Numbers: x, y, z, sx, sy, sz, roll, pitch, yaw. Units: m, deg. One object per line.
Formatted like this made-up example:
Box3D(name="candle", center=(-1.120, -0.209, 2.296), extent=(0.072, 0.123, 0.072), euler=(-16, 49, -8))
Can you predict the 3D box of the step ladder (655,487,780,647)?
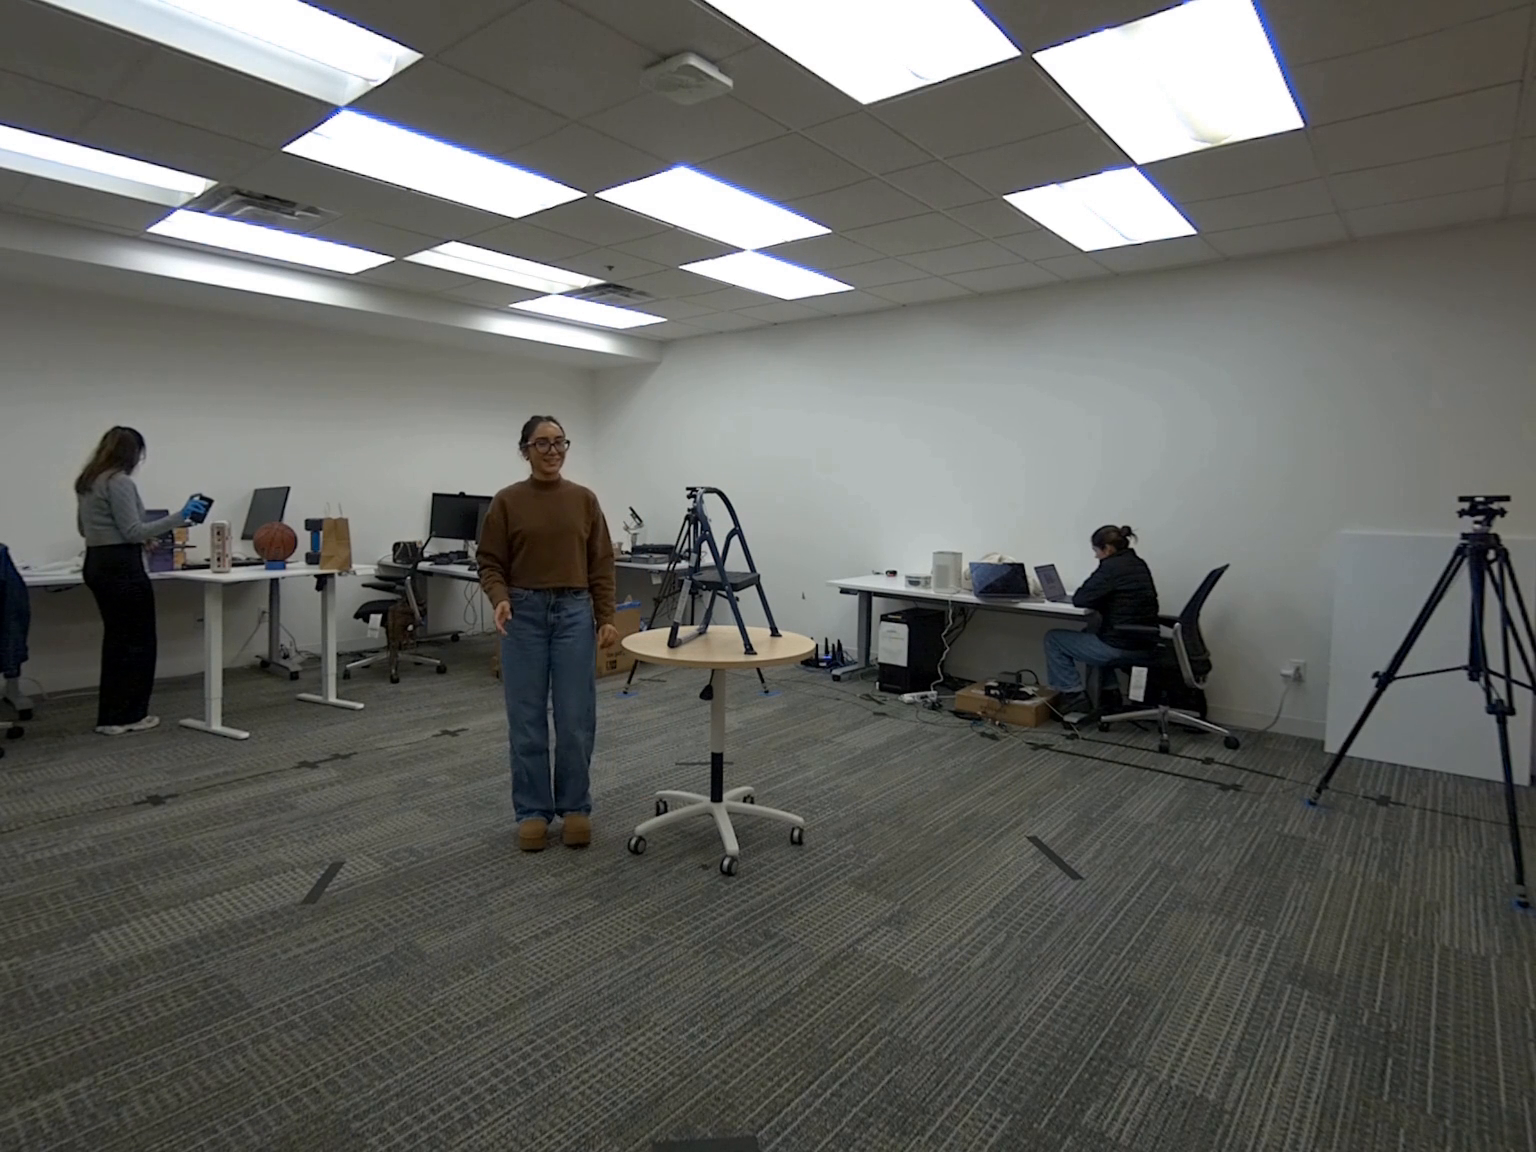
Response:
Box3D(name="step ladder", center=(-0.173, -0.041, 3.345), extent=(0.355, 0.604, 0.425), euler=(2, 4, 15))
